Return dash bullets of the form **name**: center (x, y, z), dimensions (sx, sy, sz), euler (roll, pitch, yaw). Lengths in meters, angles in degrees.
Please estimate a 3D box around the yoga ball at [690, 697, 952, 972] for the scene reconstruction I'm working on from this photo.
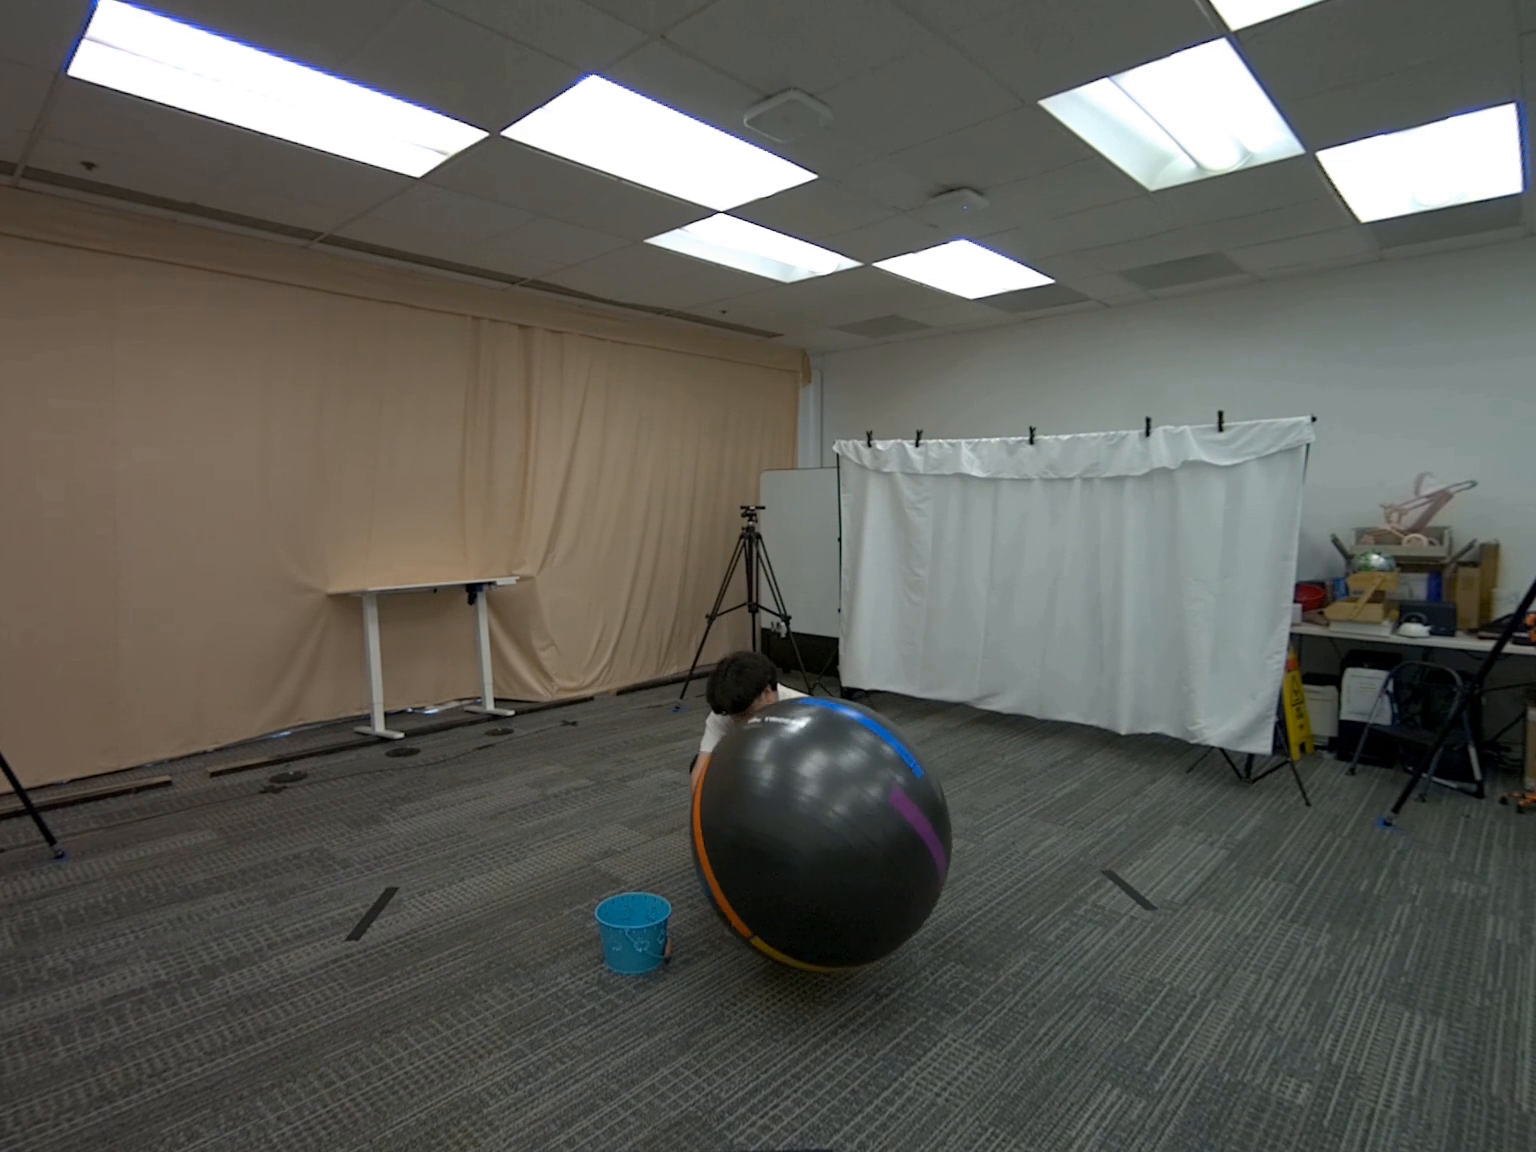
- **yoga ball**: center (0.153, 0.738, 2.465), dimensions (0.757, 0.756, 0.760), euler (0, 4, -2)
